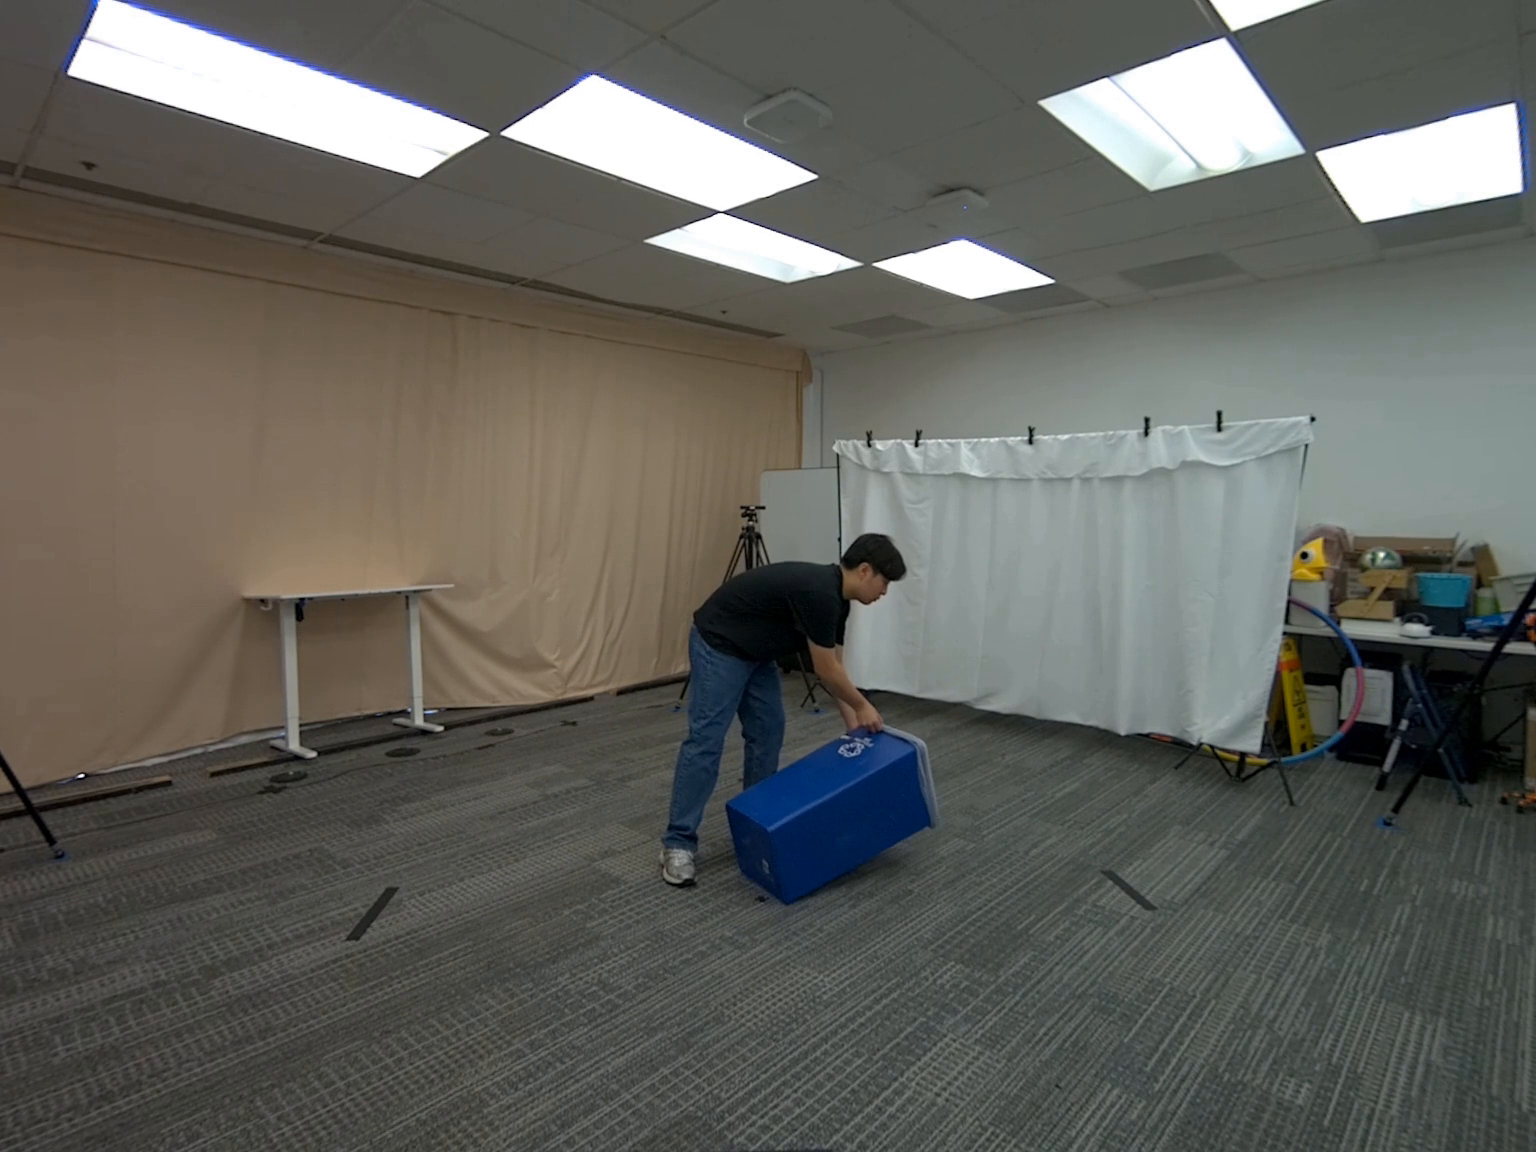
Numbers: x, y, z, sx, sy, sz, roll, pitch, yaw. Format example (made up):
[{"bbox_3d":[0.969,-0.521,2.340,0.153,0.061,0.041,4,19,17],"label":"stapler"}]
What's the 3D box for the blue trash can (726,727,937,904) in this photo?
[{"bbox_3d":[0.251,0.890,3.181,0.699,0.374,0.386,-21,15,-29],"label":"blue trash can"}]
